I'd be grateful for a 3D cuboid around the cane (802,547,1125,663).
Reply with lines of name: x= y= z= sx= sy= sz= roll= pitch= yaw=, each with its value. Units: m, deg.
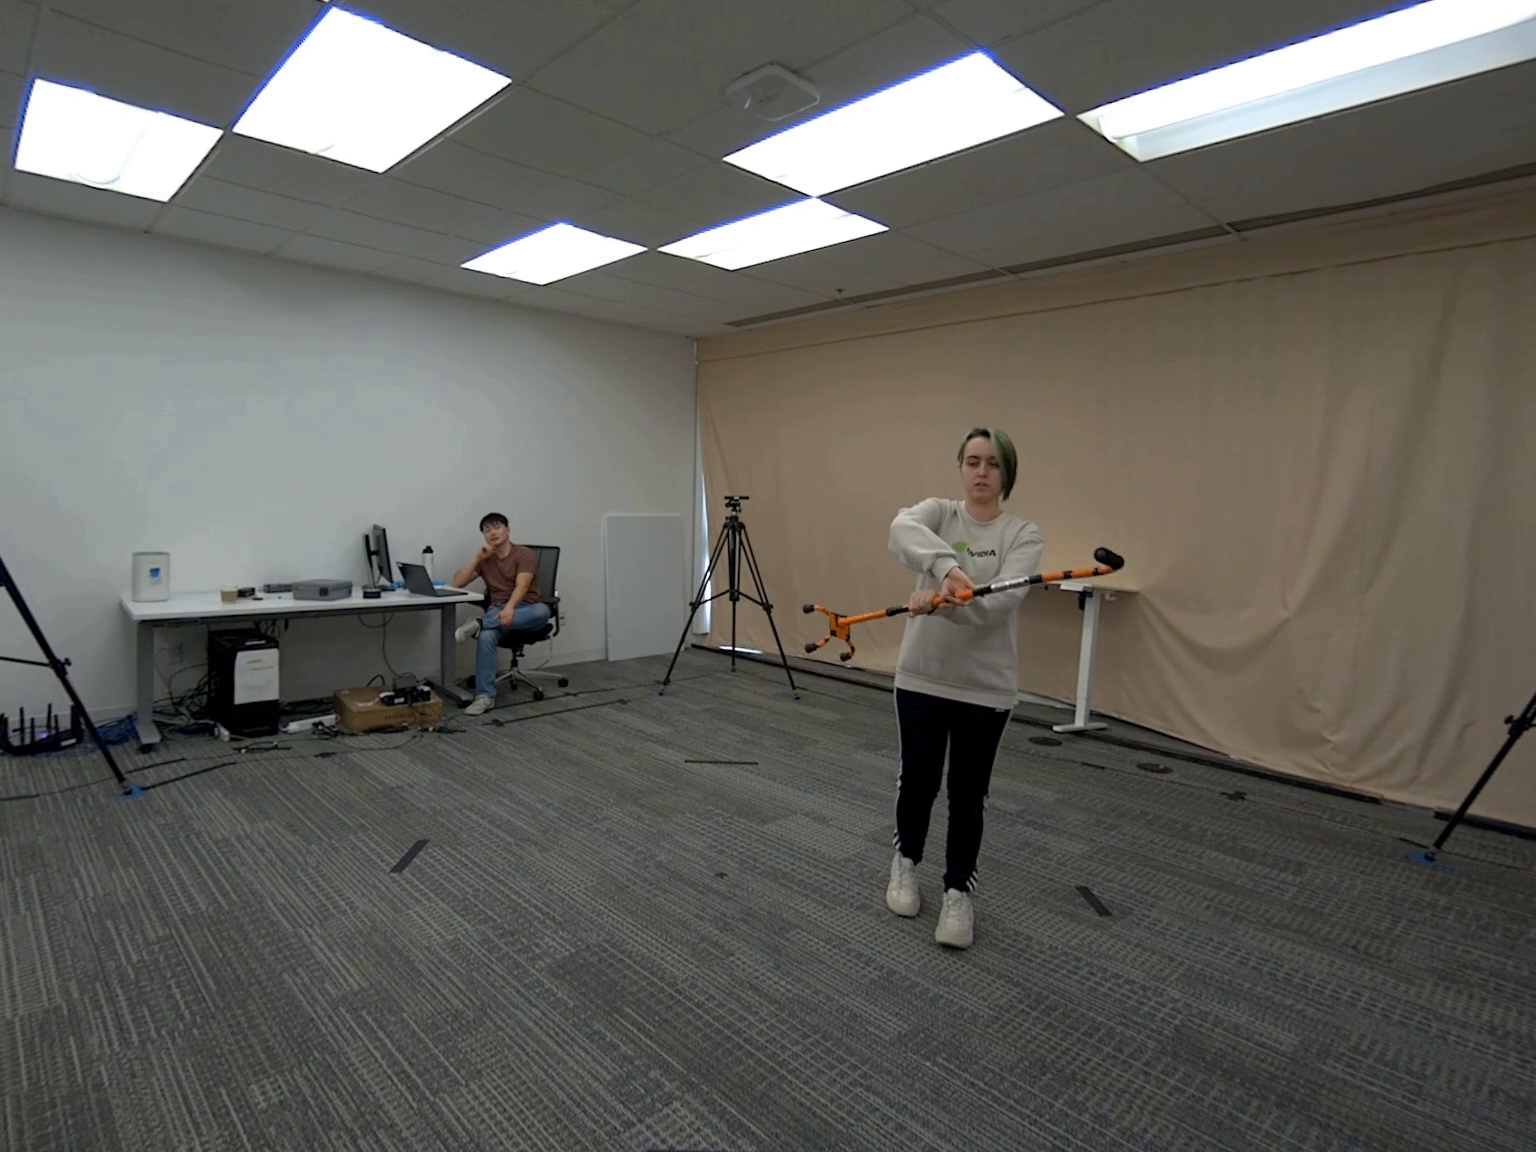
cane: x=0.496 y=0.077 z=2.331 sx=0.922 sy=0.154 sz=0.200 roll=-17 pitch=-25 yaw=40
